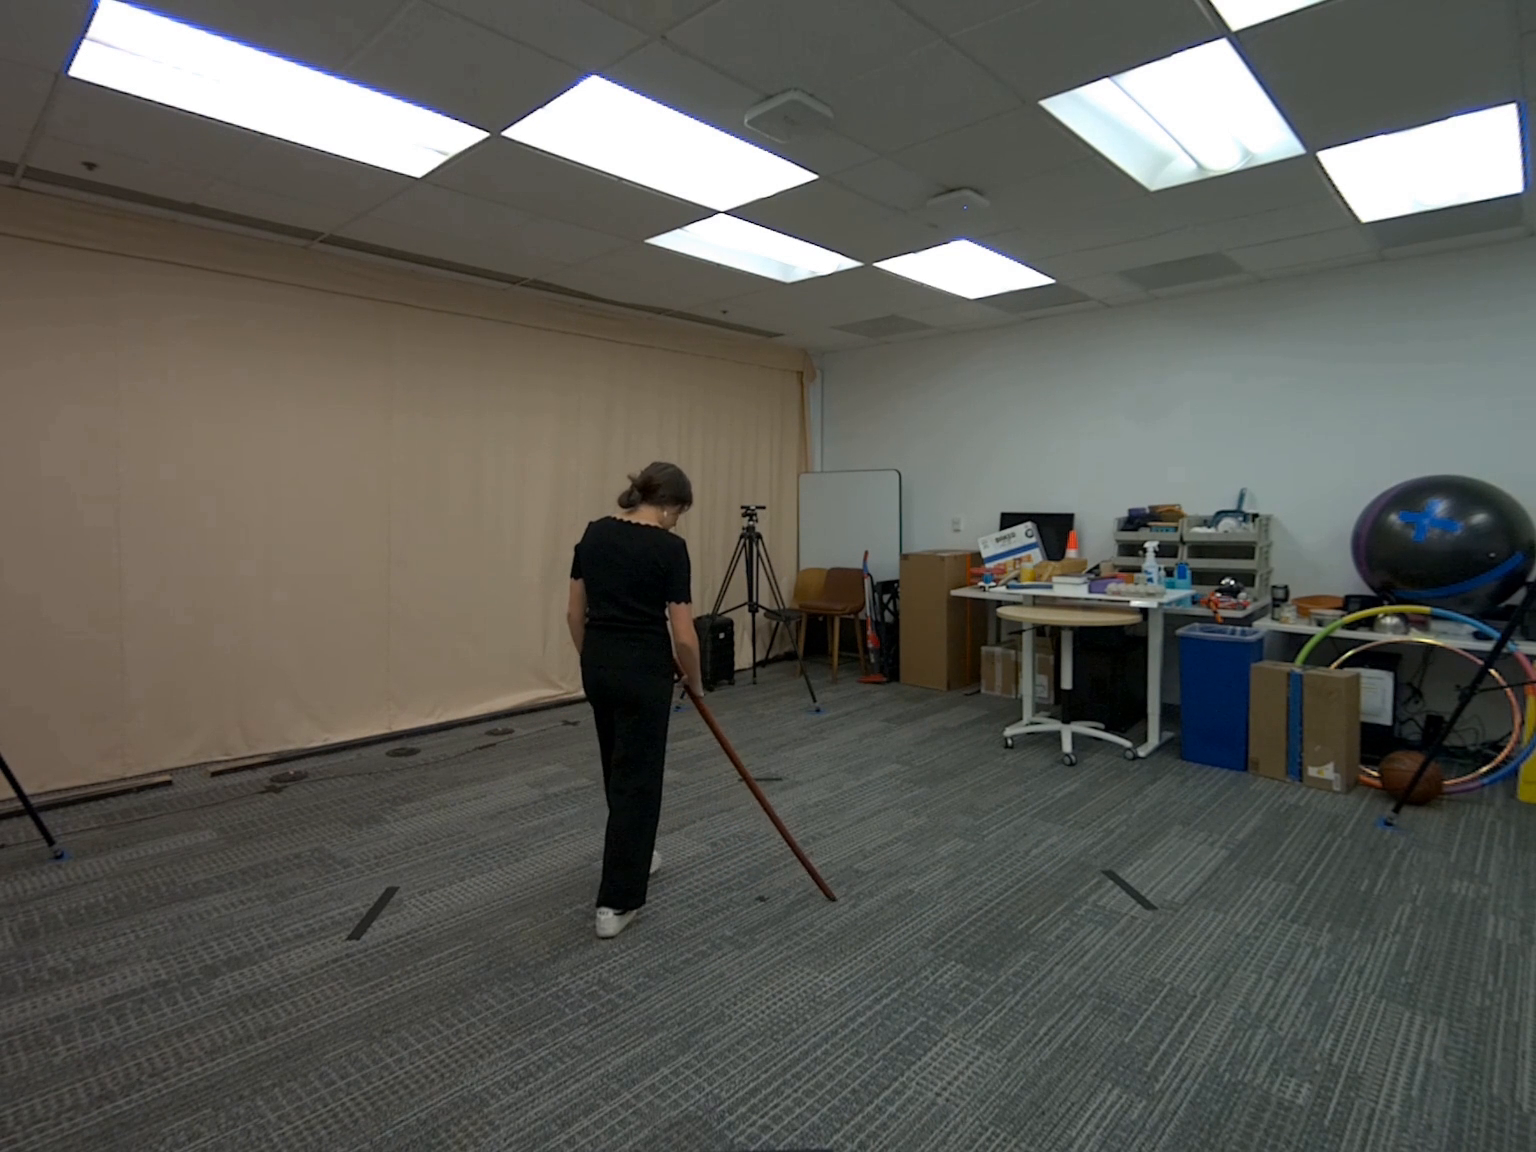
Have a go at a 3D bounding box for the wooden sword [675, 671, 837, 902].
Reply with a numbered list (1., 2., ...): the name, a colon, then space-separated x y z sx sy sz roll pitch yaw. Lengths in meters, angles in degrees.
1. wooden sword: -0.064 0.742 2.986 0.051 1.026 0.024 -37 -1 -25
